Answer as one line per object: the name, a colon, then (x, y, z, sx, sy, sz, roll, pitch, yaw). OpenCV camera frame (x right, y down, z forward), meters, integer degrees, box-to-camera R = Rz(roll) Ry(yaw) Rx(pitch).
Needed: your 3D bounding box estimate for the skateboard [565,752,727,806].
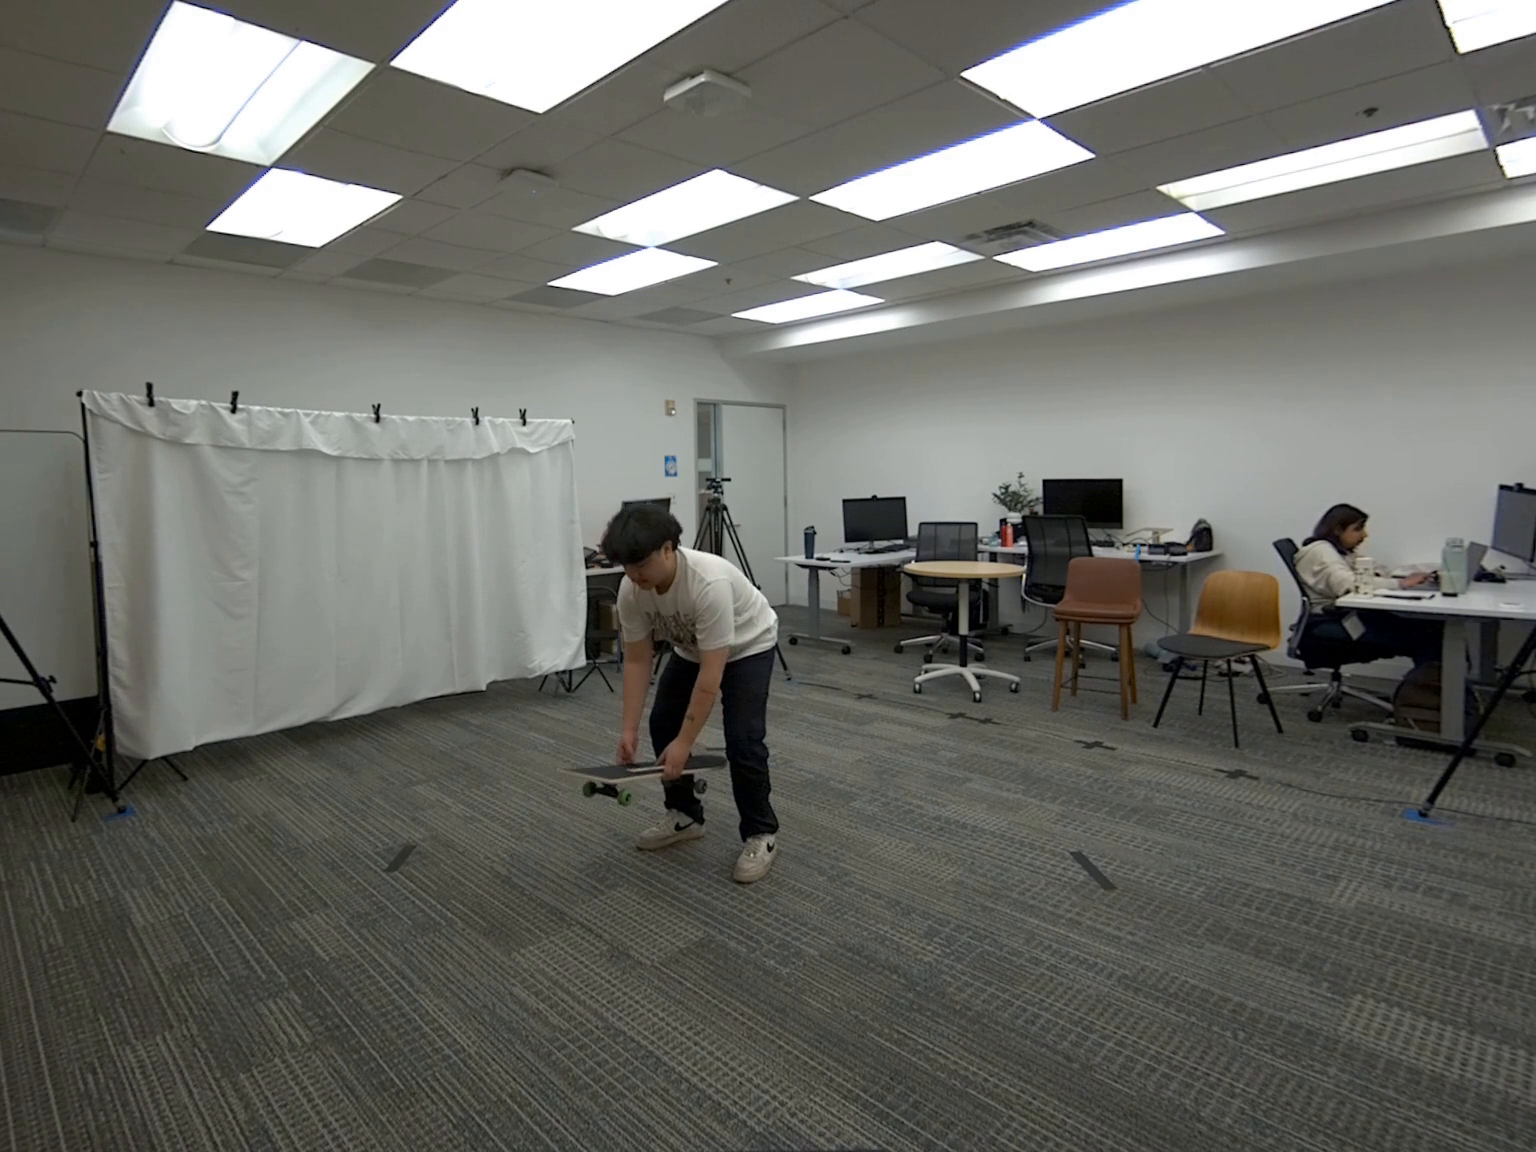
skateboard: (-0.399, 0.687, 2.893, 0.199, 0.111, 0.760, 1, -6, 34)
